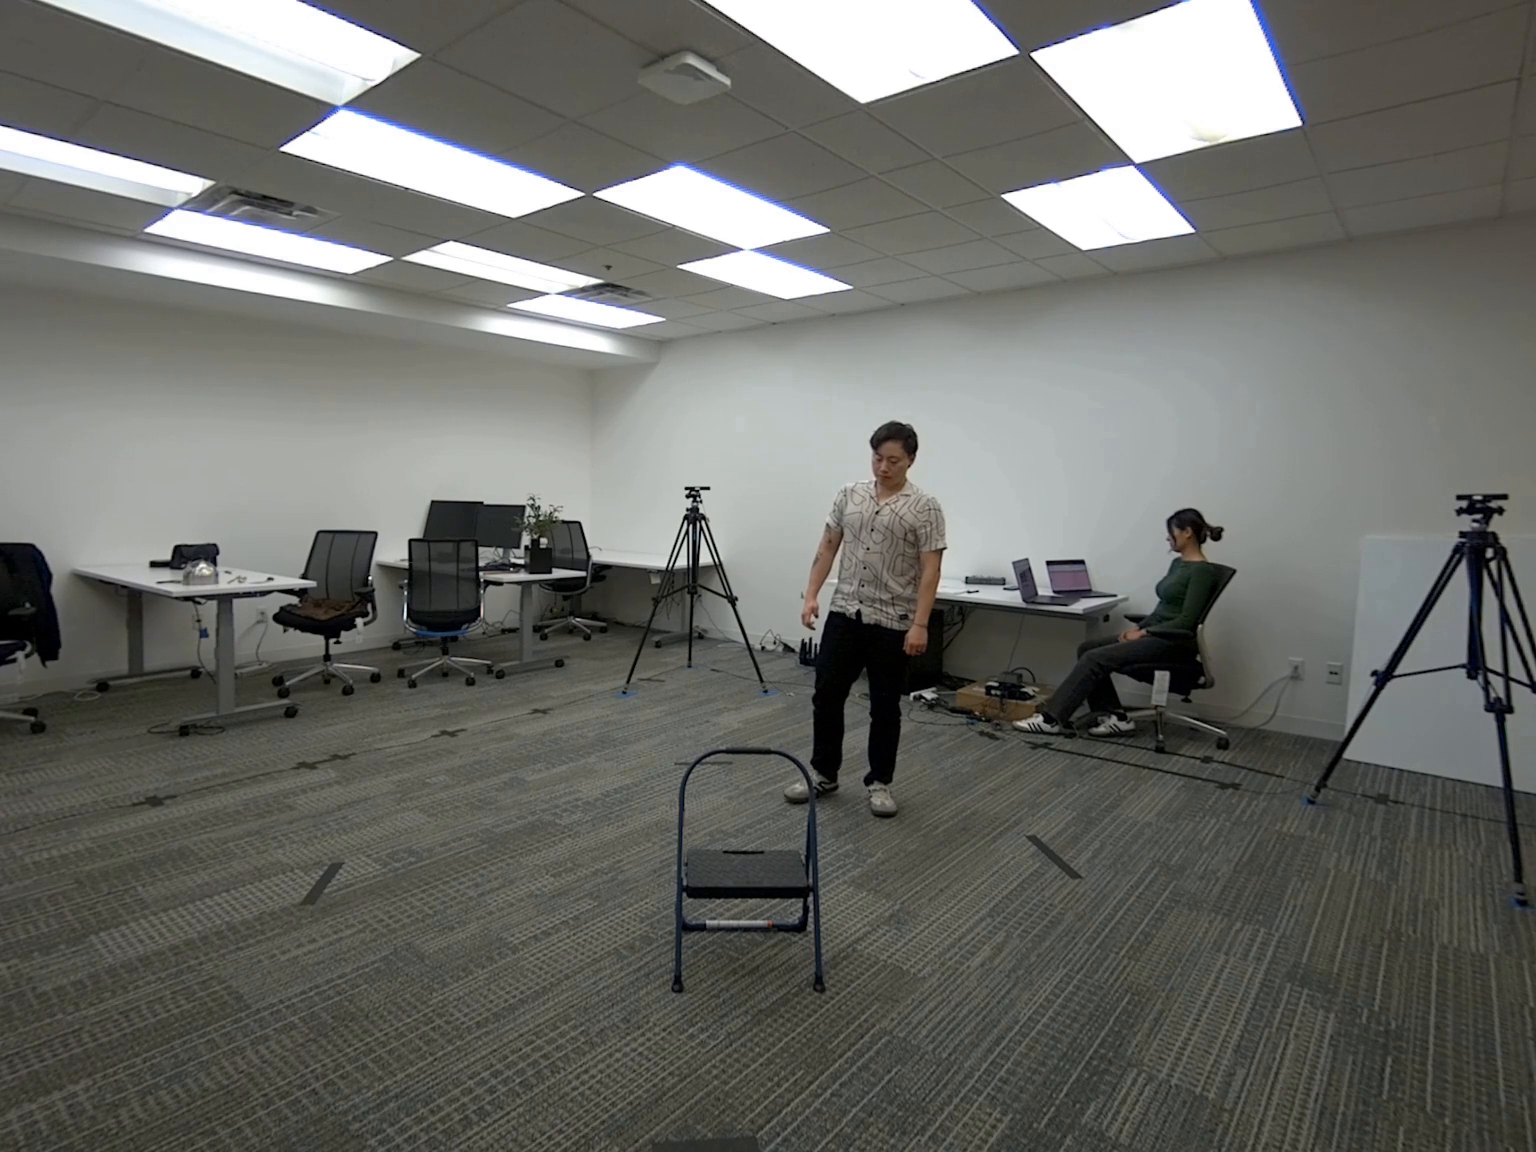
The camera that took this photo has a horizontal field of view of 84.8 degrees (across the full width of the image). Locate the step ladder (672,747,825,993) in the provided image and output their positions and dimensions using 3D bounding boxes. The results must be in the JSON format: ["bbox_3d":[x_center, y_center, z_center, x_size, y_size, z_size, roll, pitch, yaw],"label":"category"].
[{"bbox_3d":[-0.069,0.831,2.505,0.429,0.604,0.352,1,4,-4],"label":"step ladder"}]
